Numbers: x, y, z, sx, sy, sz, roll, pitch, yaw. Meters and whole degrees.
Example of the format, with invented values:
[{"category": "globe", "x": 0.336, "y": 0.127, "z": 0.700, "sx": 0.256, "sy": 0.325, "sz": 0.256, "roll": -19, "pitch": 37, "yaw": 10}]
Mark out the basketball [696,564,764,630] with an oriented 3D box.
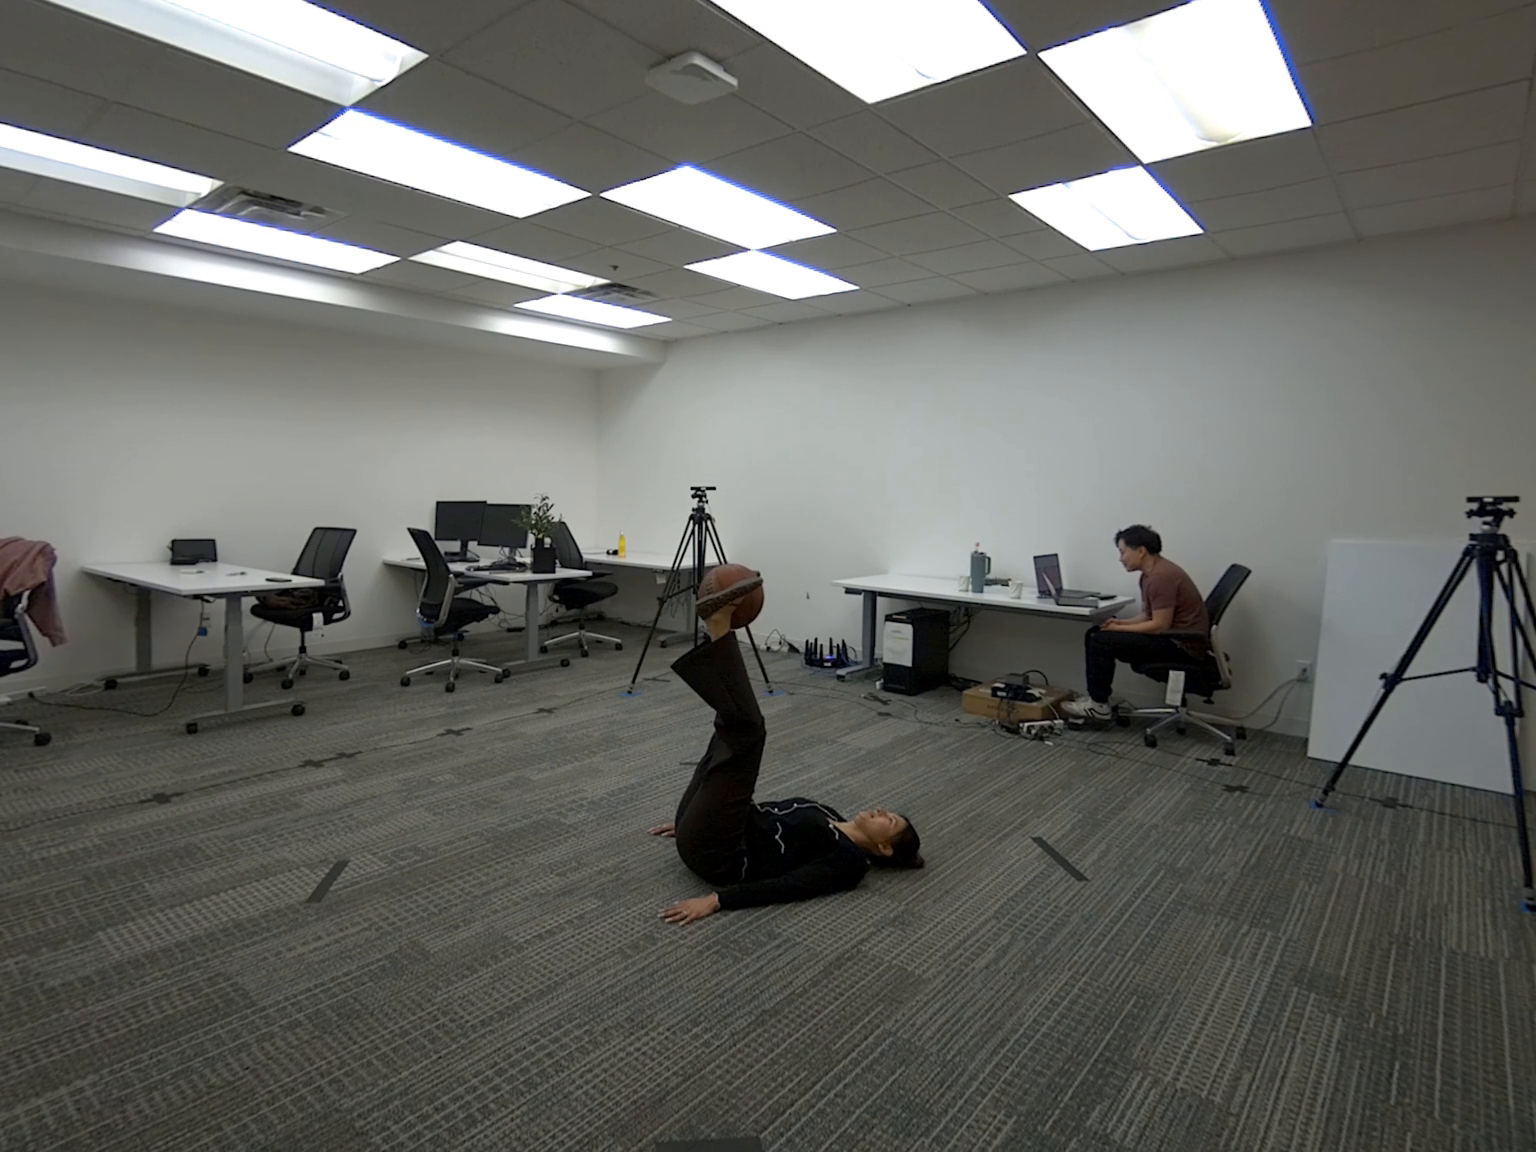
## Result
[{"category": "basketball", "x": -0.141, "y": 0.067, "z": 3.058, "sx": 0.236, "sy": 0.234, "sz": 0.238, "roll": 0, "pitch": 7, "yaw": -2}]
